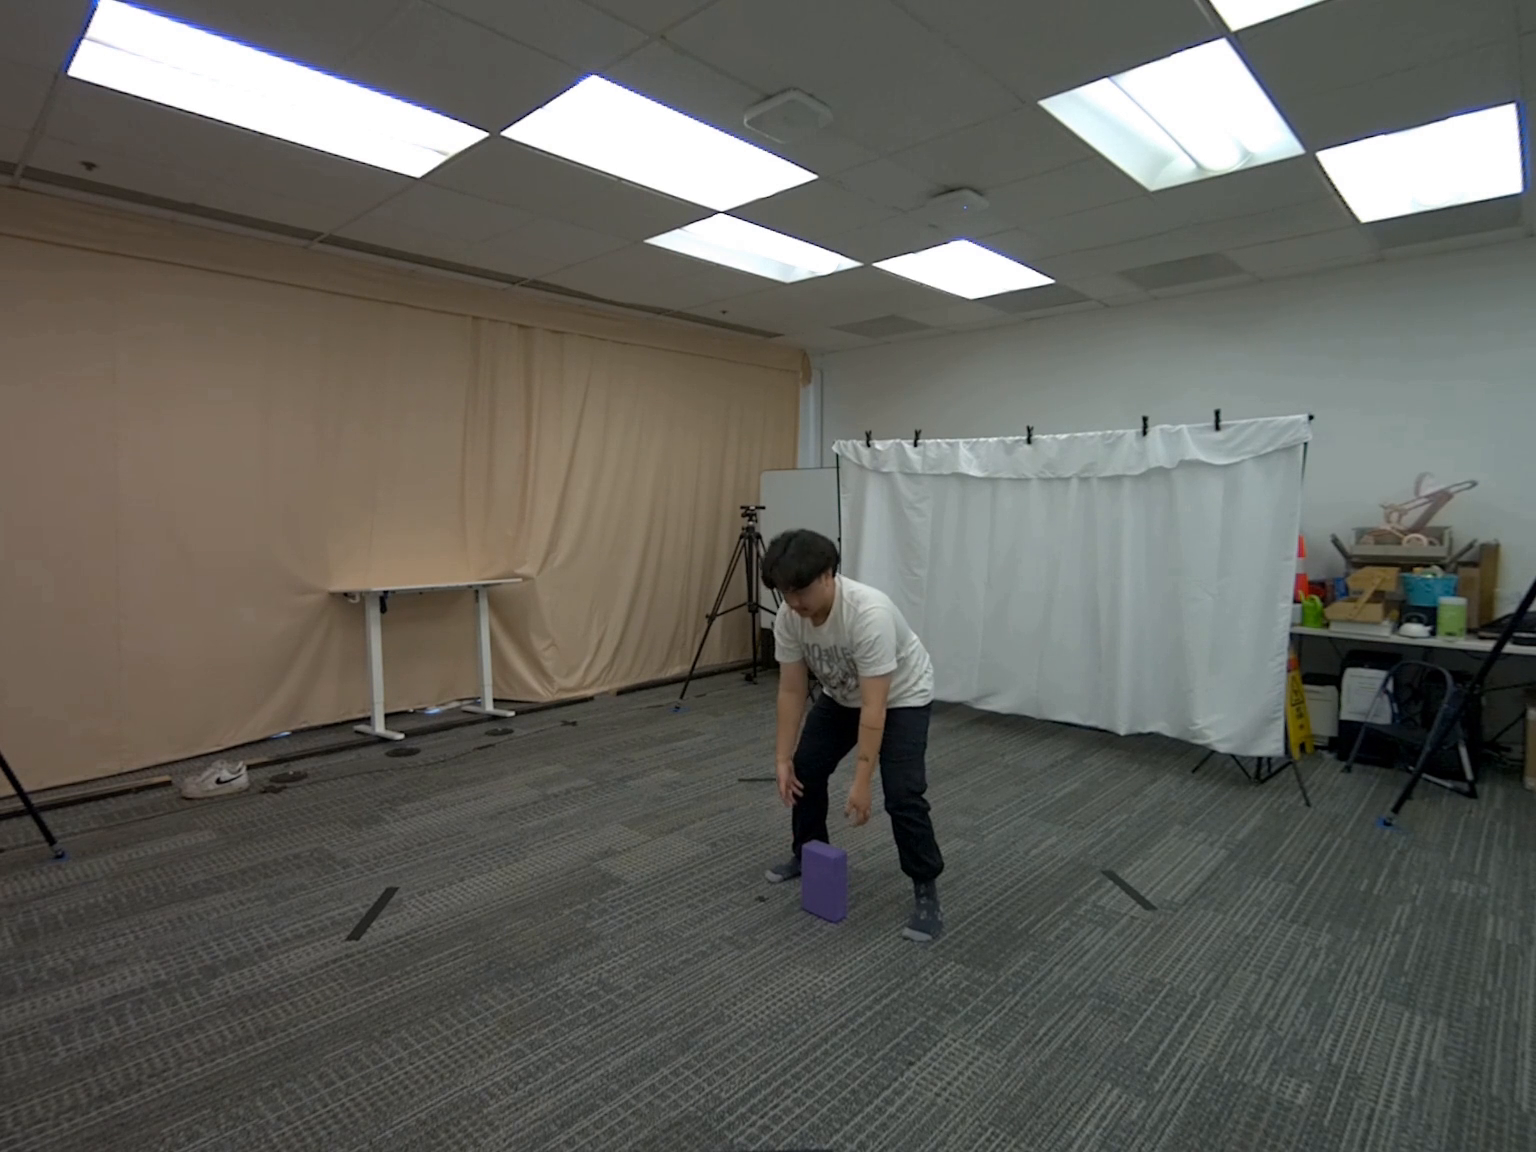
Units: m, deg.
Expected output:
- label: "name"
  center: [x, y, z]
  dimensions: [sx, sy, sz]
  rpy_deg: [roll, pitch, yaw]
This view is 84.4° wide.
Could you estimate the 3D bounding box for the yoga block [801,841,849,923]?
- label: "yoga block"
  center: [0.196, 1.035, 2.874]
  dimensions: [0.154, 0.229, 0.074]
  rpy_deg: [5, 6, 42]
